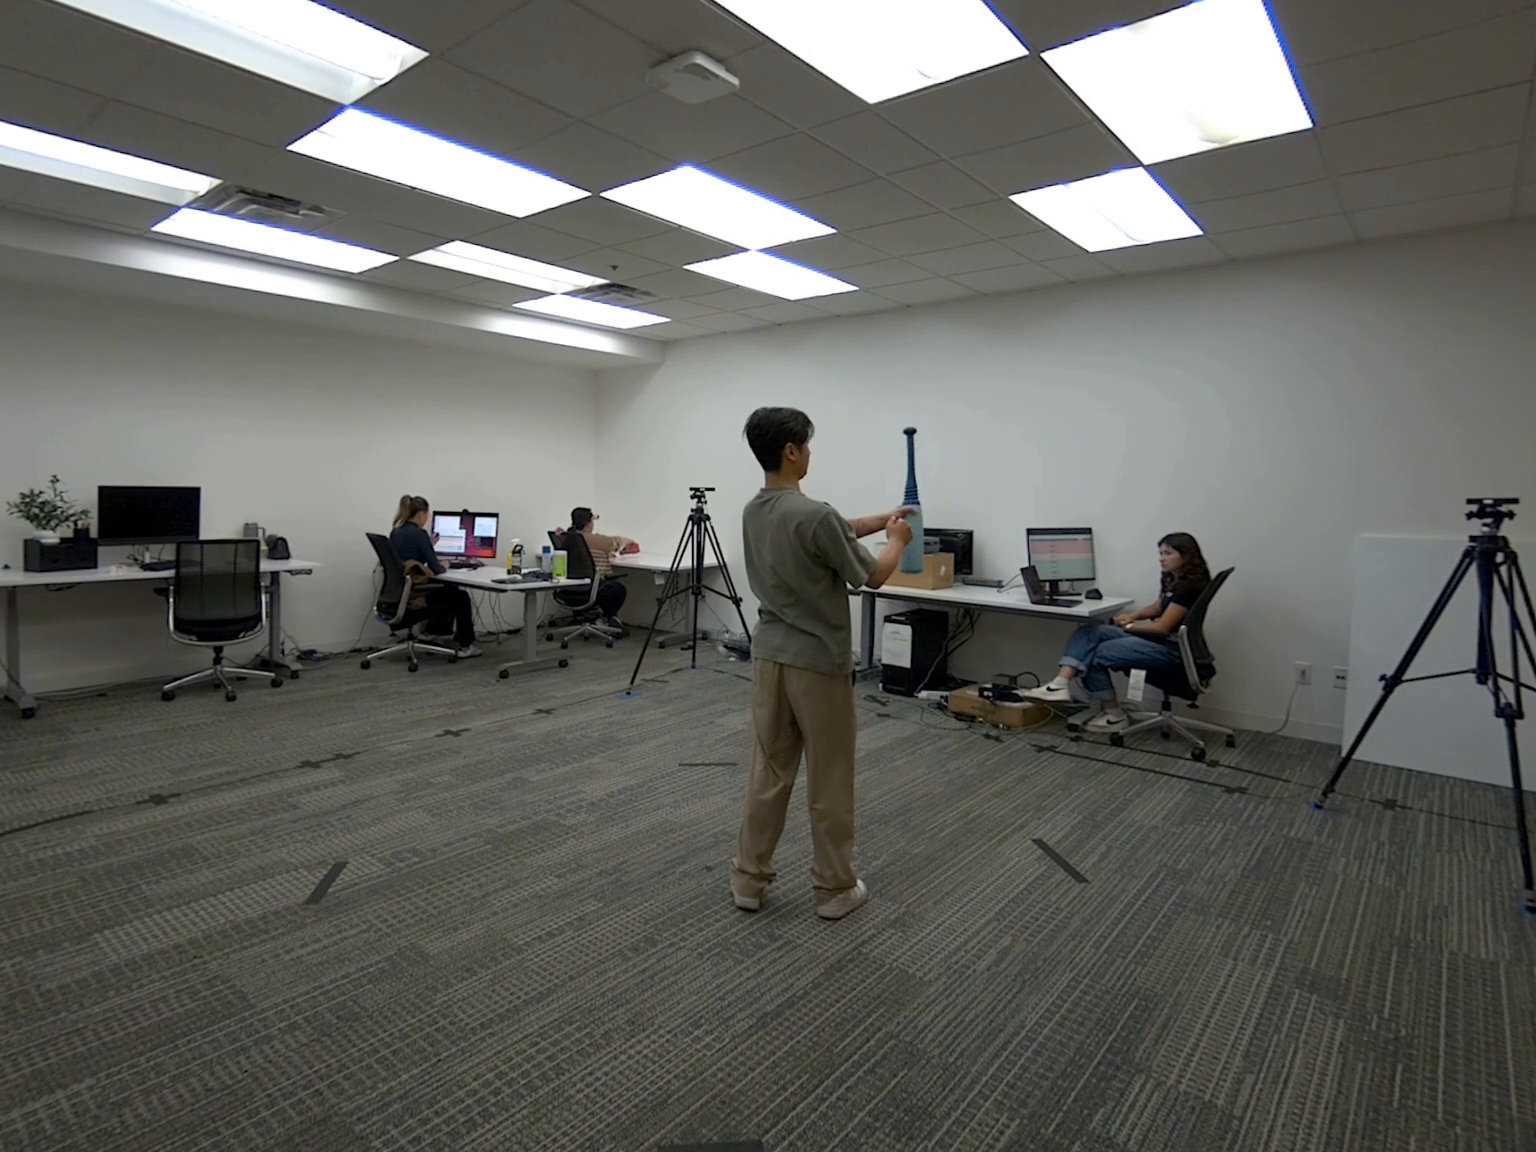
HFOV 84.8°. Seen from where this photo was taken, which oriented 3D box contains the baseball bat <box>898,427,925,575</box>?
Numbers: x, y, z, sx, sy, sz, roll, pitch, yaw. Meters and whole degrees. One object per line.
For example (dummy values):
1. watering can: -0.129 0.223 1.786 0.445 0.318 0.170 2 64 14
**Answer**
1. baseball bat: 0.526 -0.275 3.140 0.089 0.545 0.089 1 -3 -2
